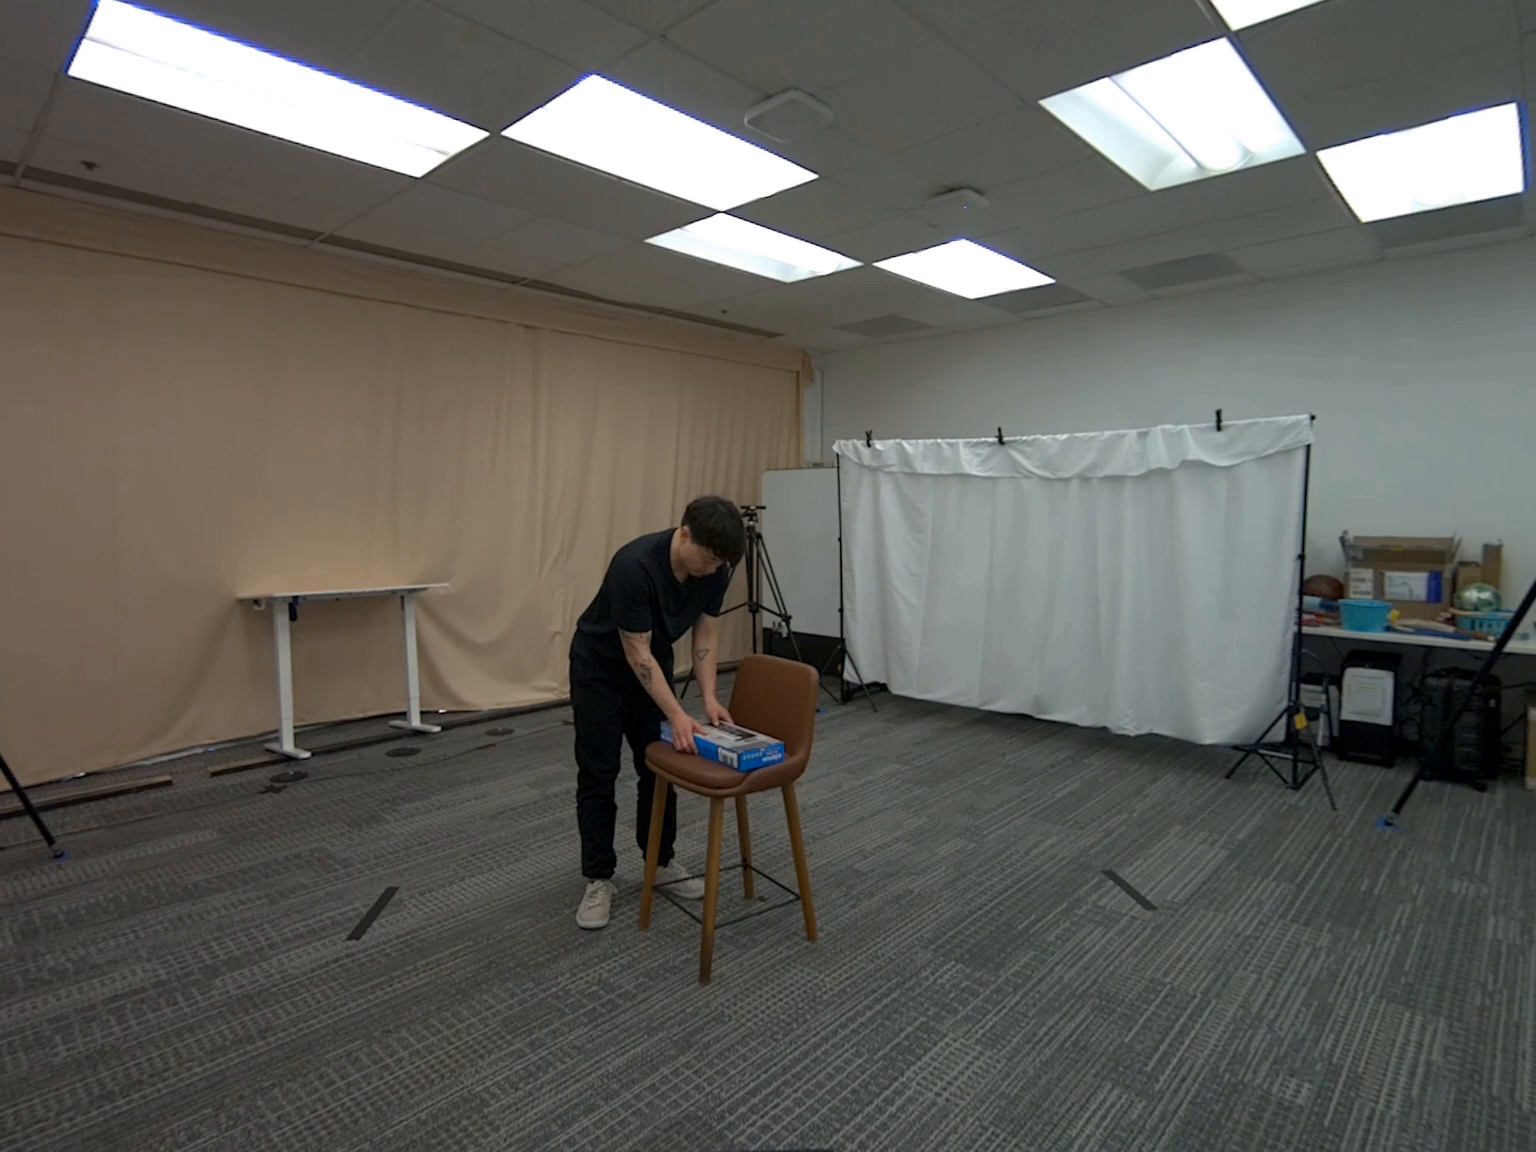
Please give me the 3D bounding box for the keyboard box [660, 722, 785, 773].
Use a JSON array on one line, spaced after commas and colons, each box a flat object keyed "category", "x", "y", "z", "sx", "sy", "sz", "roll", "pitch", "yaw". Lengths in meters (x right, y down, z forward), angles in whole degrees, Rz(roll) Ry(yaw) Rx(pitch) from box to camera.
[{"category": "keyboard box", "x": -0.163, "y": 0.531, "z": 2.682, "sx": 0.171, "sy": 0.059, "sz": 0.451, "roll": -4, "pitch": 7, "yaw": -36}]
